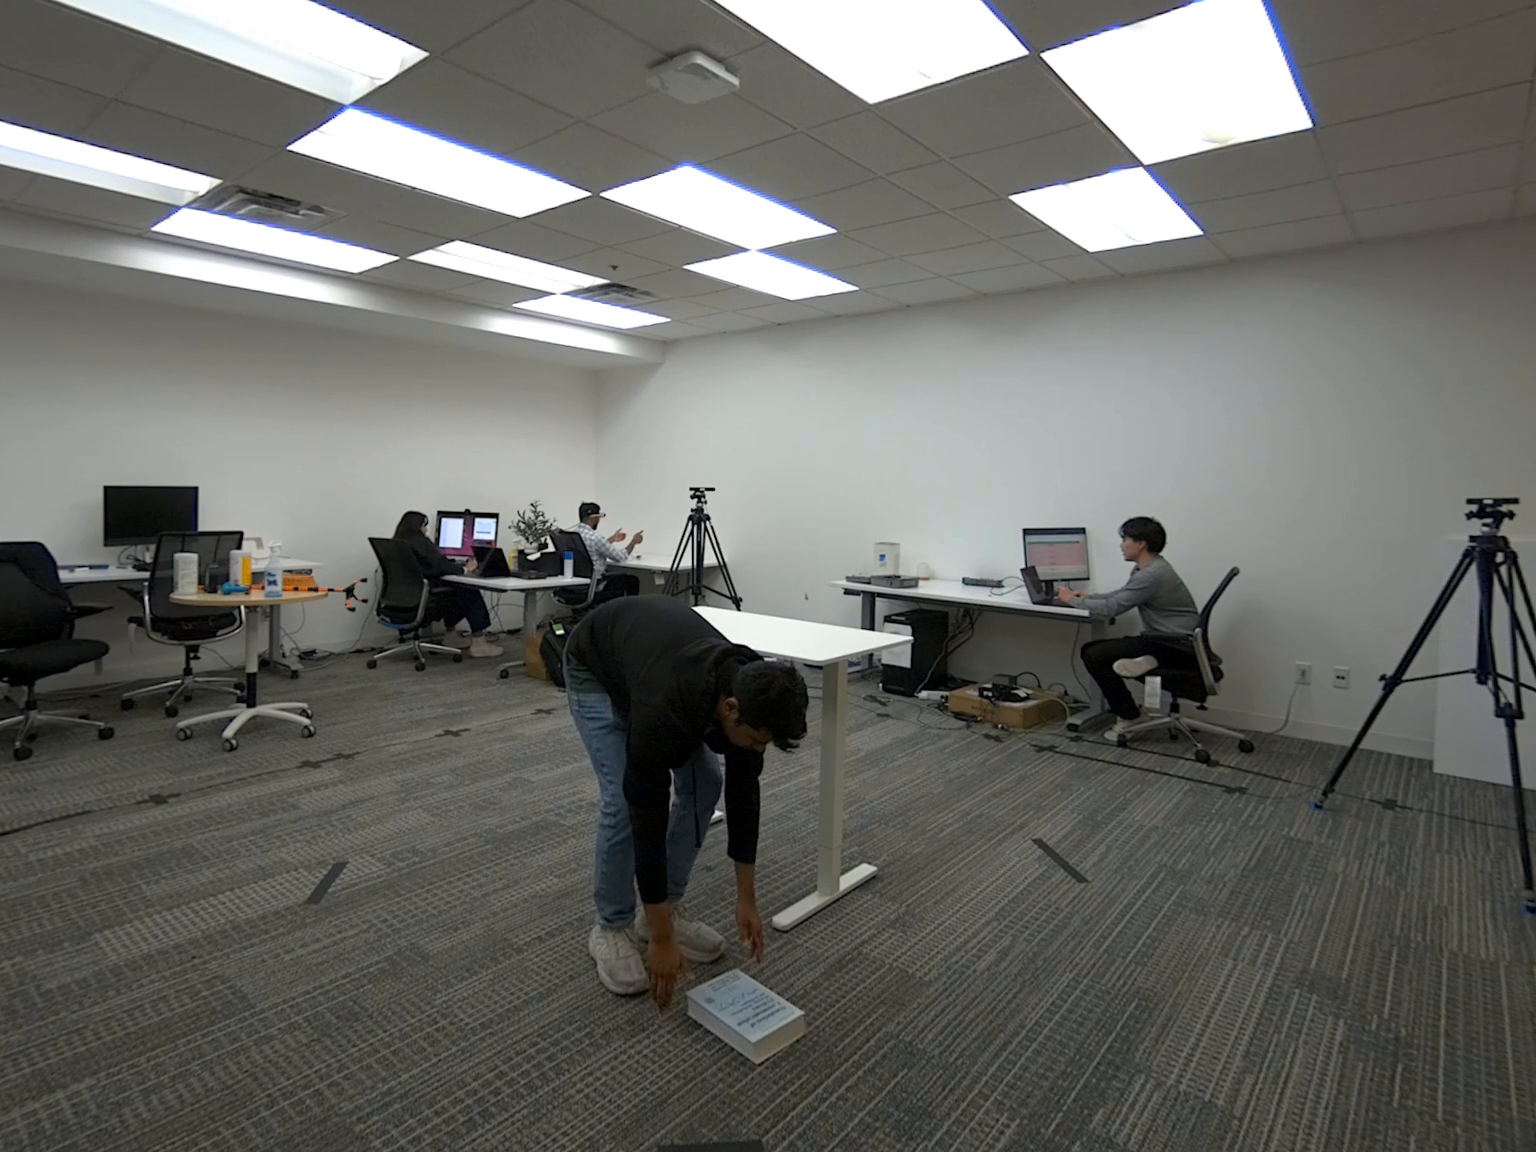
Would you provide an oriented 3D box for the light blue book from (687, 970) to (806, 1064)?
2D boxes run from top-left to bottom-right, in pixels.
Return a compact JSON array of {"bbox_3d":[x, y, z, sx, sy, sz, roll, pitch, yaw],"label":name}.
[{"bbox_3d":[-0.068,1.125,2.208,0.186,0.059,0.270,-4,8,-43],"label":"light blue book"}]
